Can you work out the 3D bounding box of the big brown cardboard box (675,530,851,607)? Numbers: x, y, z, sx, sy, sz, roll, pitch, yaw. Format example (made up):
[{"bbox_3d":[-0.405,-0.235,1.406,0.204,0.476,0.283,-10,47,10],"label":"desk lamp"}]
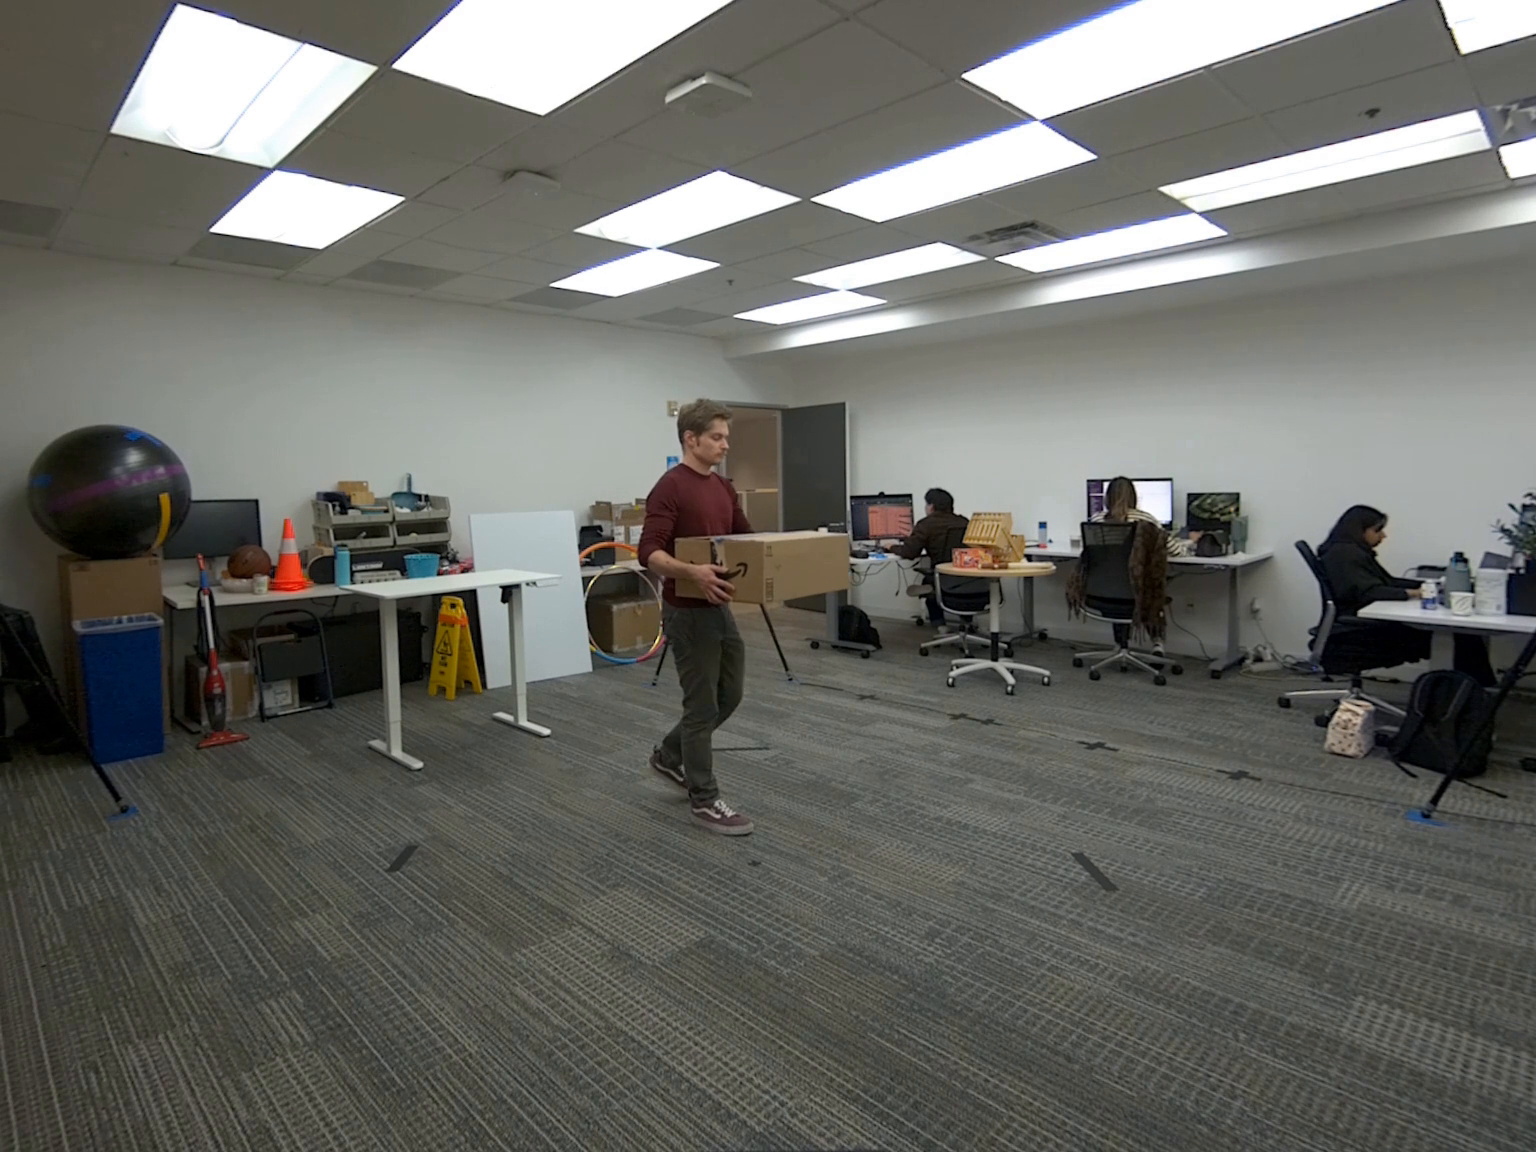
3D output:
[{"bbox_3d":[-0.008,-0.045,3.239,0.430,0.232,0.574,3,7,38],"label":"big brown cardboard box"}]
